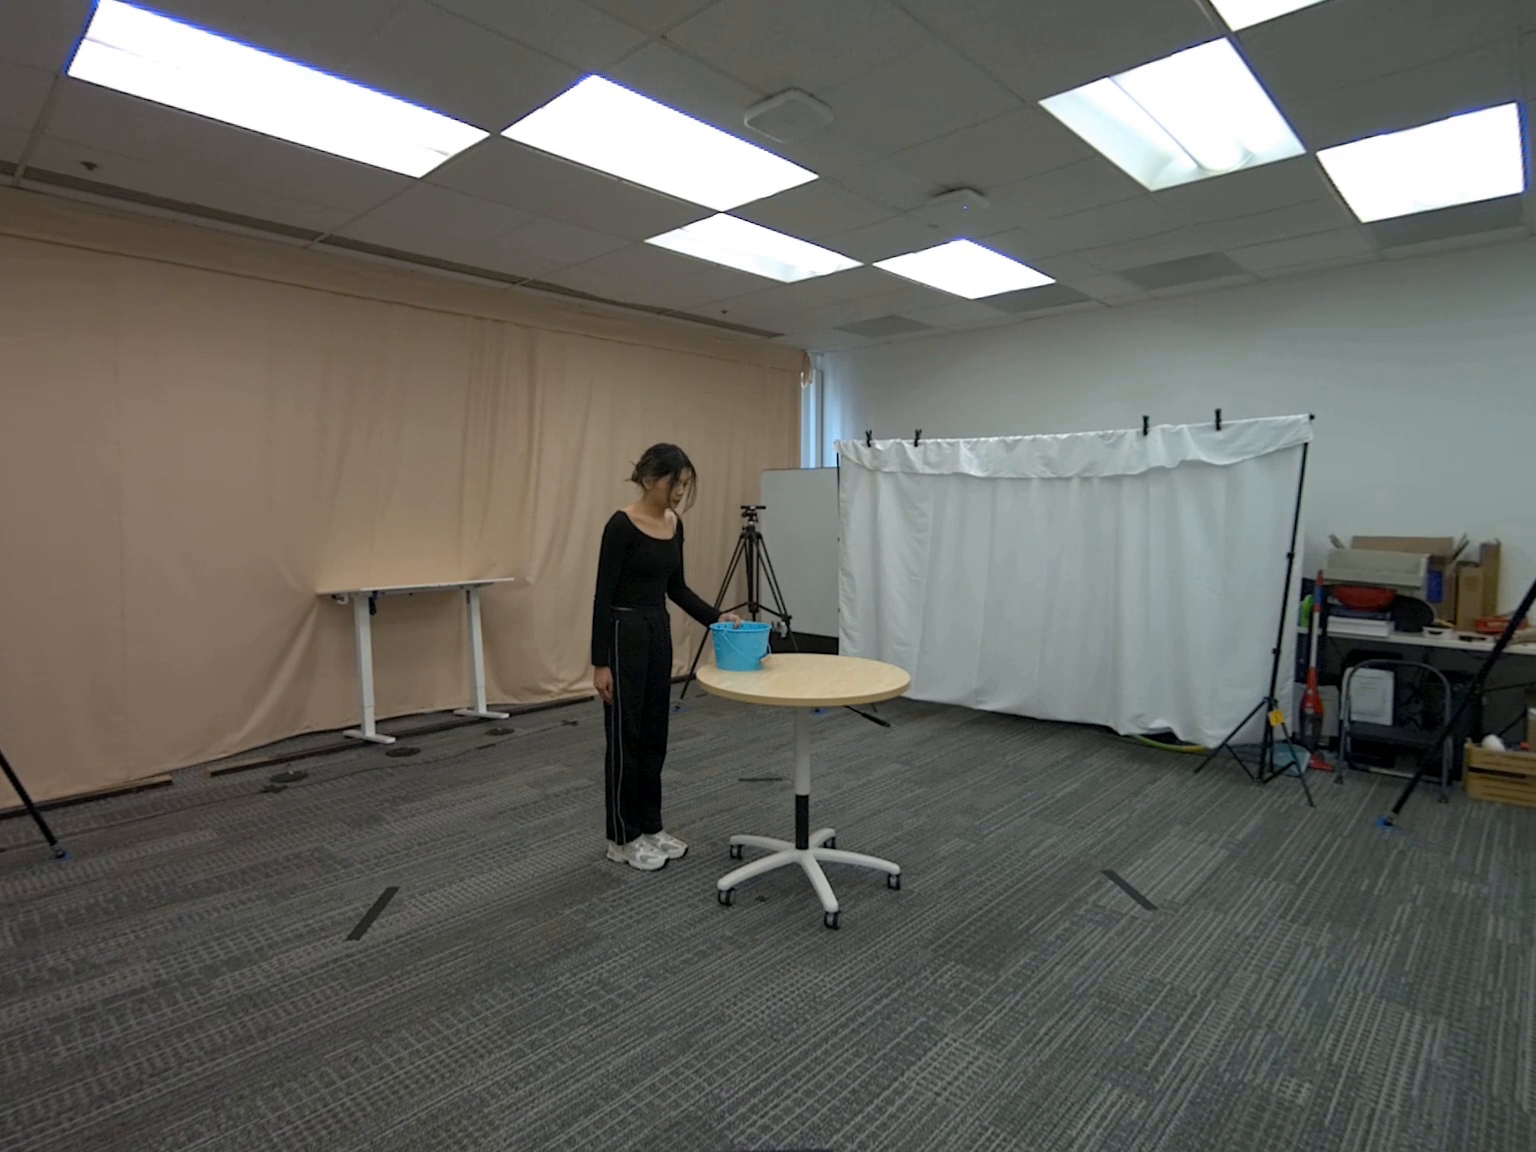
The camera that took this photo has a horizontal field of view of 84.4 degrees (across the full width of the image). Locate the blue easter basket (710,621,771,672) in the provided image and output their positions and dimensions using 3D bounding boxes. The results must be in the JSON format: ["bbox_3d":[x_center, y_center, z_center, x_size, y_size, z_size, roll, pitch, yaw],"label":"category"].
[{"bbox_3d":[-0.110,0.272,3.156,0.243,0.155,0.244,-3,5,-2],"label":"blue easter basket"}]
